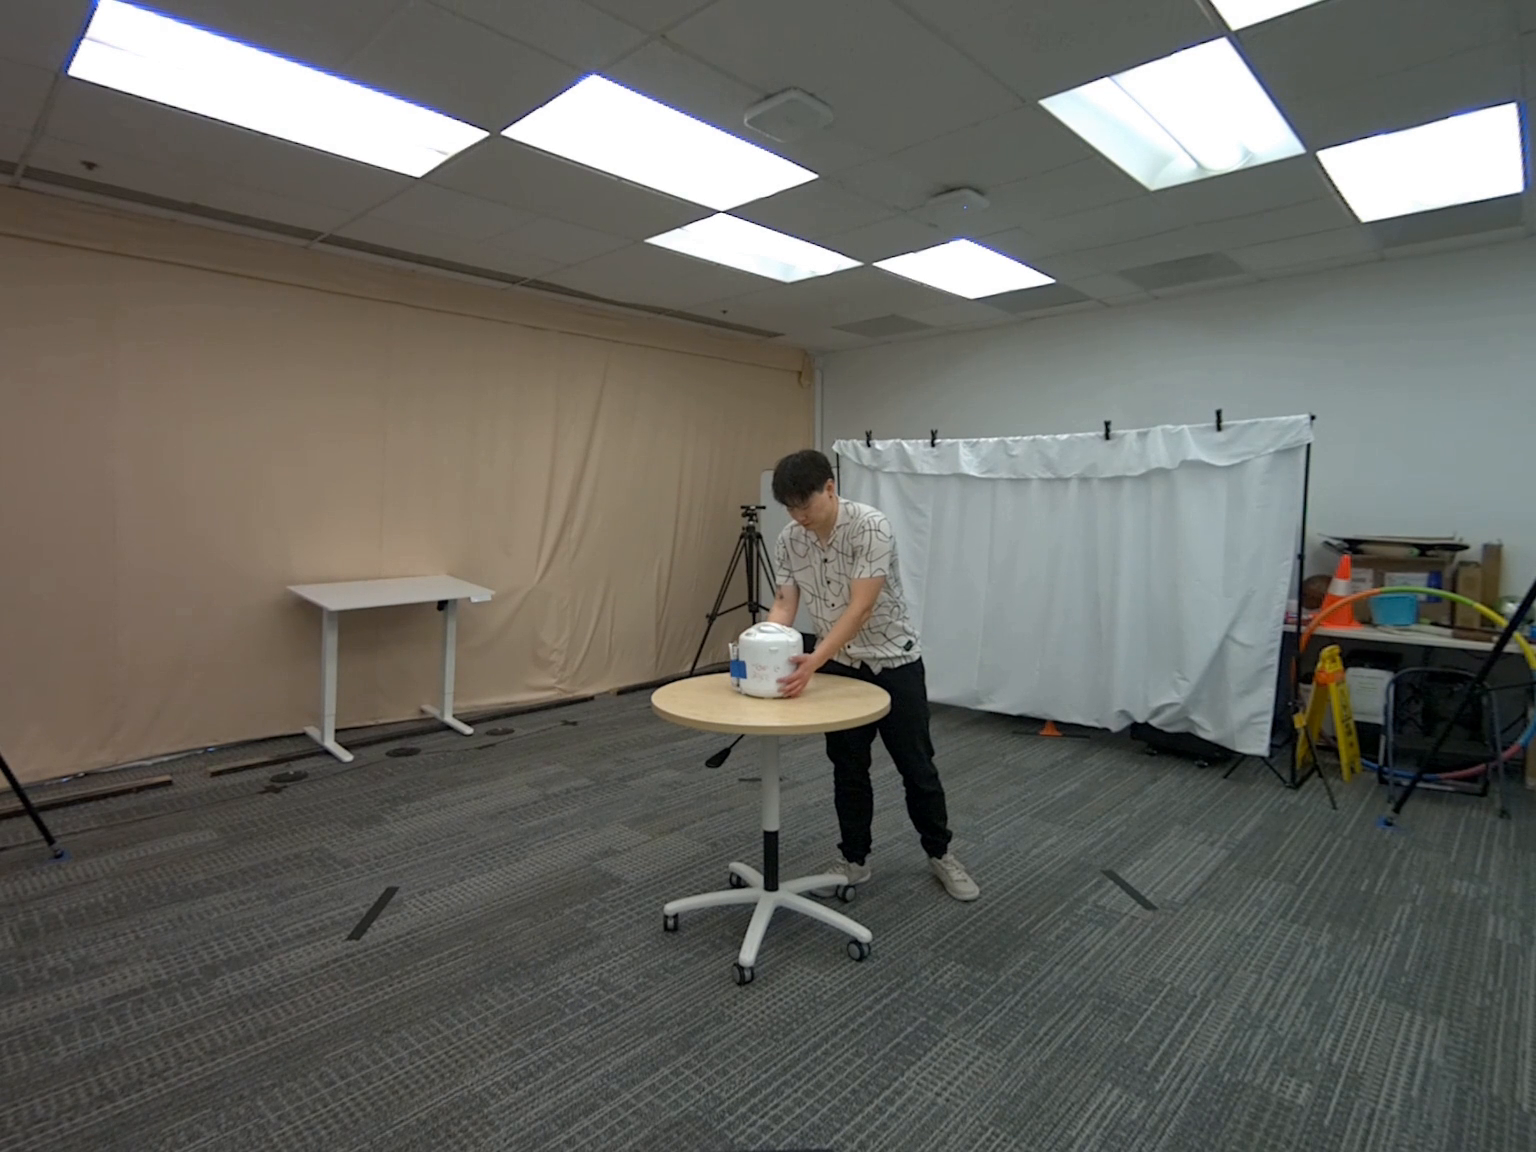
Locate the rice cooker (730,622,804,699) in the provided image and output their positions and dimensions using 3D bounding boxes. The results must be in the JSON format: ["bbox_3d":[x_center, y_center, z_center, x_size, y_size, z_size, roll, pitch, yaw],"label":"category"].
[{"bbox_3d":[0.009,0.267,2.737,0.211,0.232,0.228,-4,5,-44],"label":"rice cooker"}]
